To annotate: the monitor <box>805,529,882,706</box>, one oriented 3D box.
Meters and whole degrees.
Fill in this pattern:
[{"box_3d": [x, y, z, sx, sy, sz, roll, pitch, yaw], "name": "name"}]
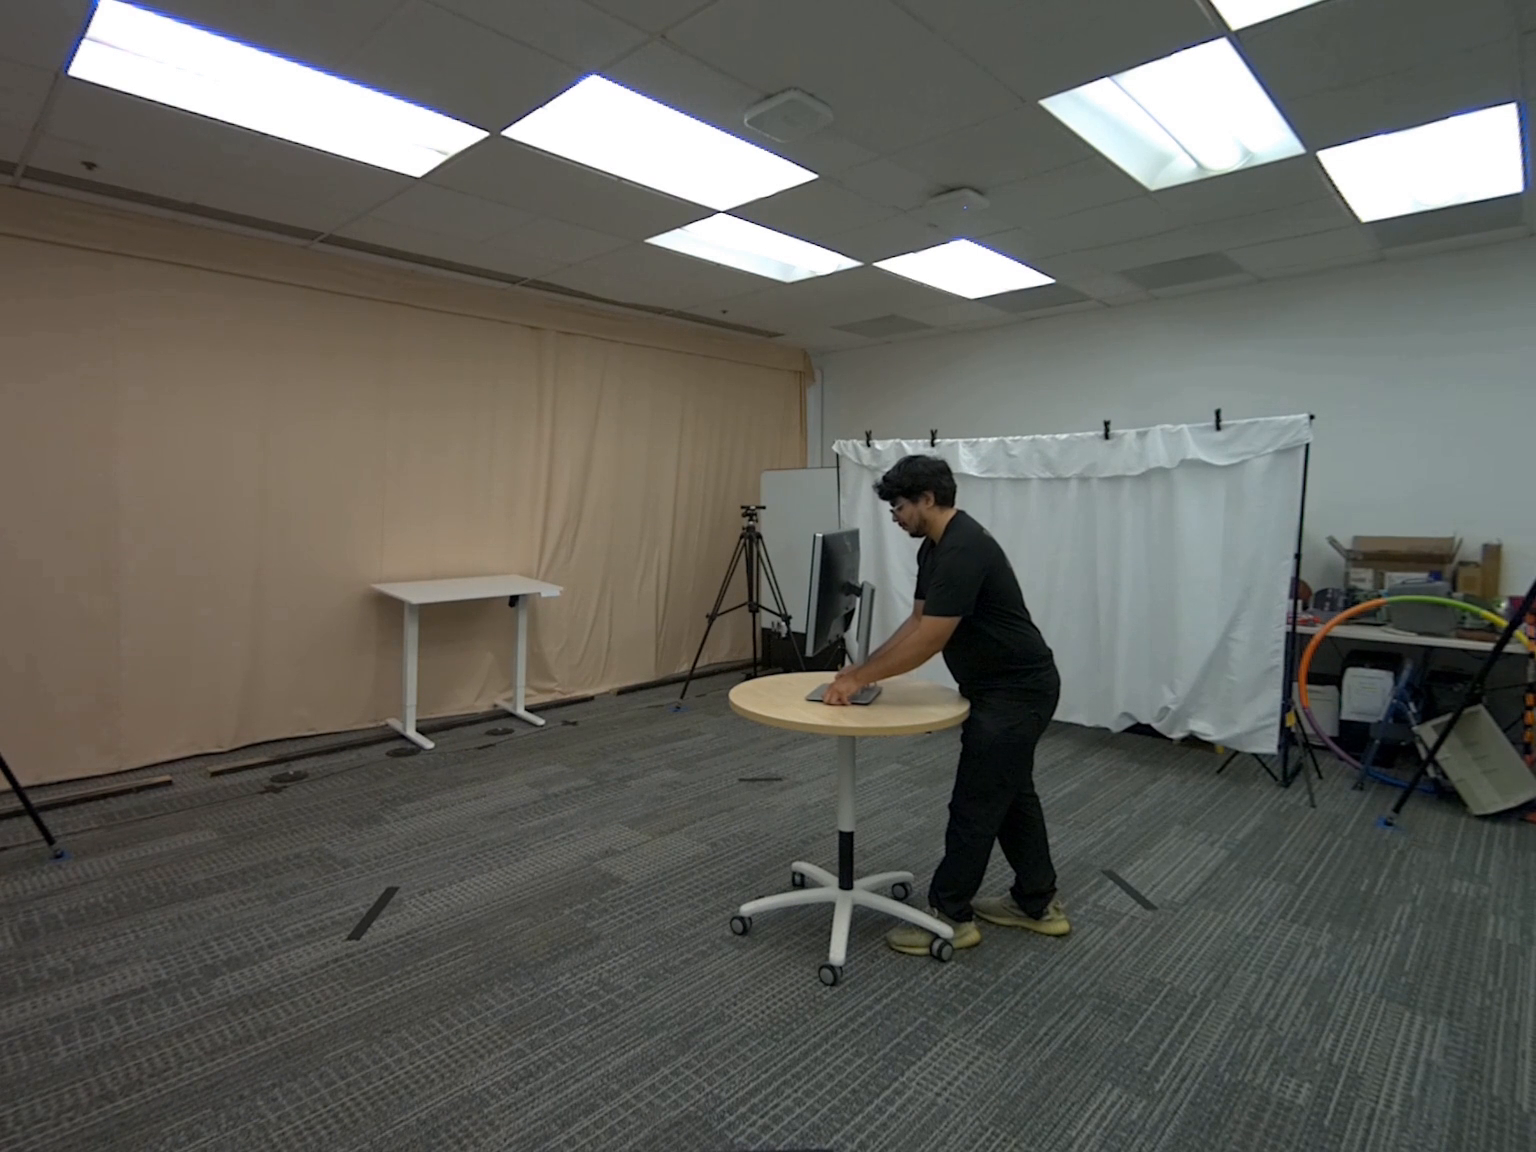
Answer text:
[{"box_3d": [0.281, 0.127, 2.701, 0.214, 0.552, 0.555, 2, 5, 18], "name": "monitor"}]
